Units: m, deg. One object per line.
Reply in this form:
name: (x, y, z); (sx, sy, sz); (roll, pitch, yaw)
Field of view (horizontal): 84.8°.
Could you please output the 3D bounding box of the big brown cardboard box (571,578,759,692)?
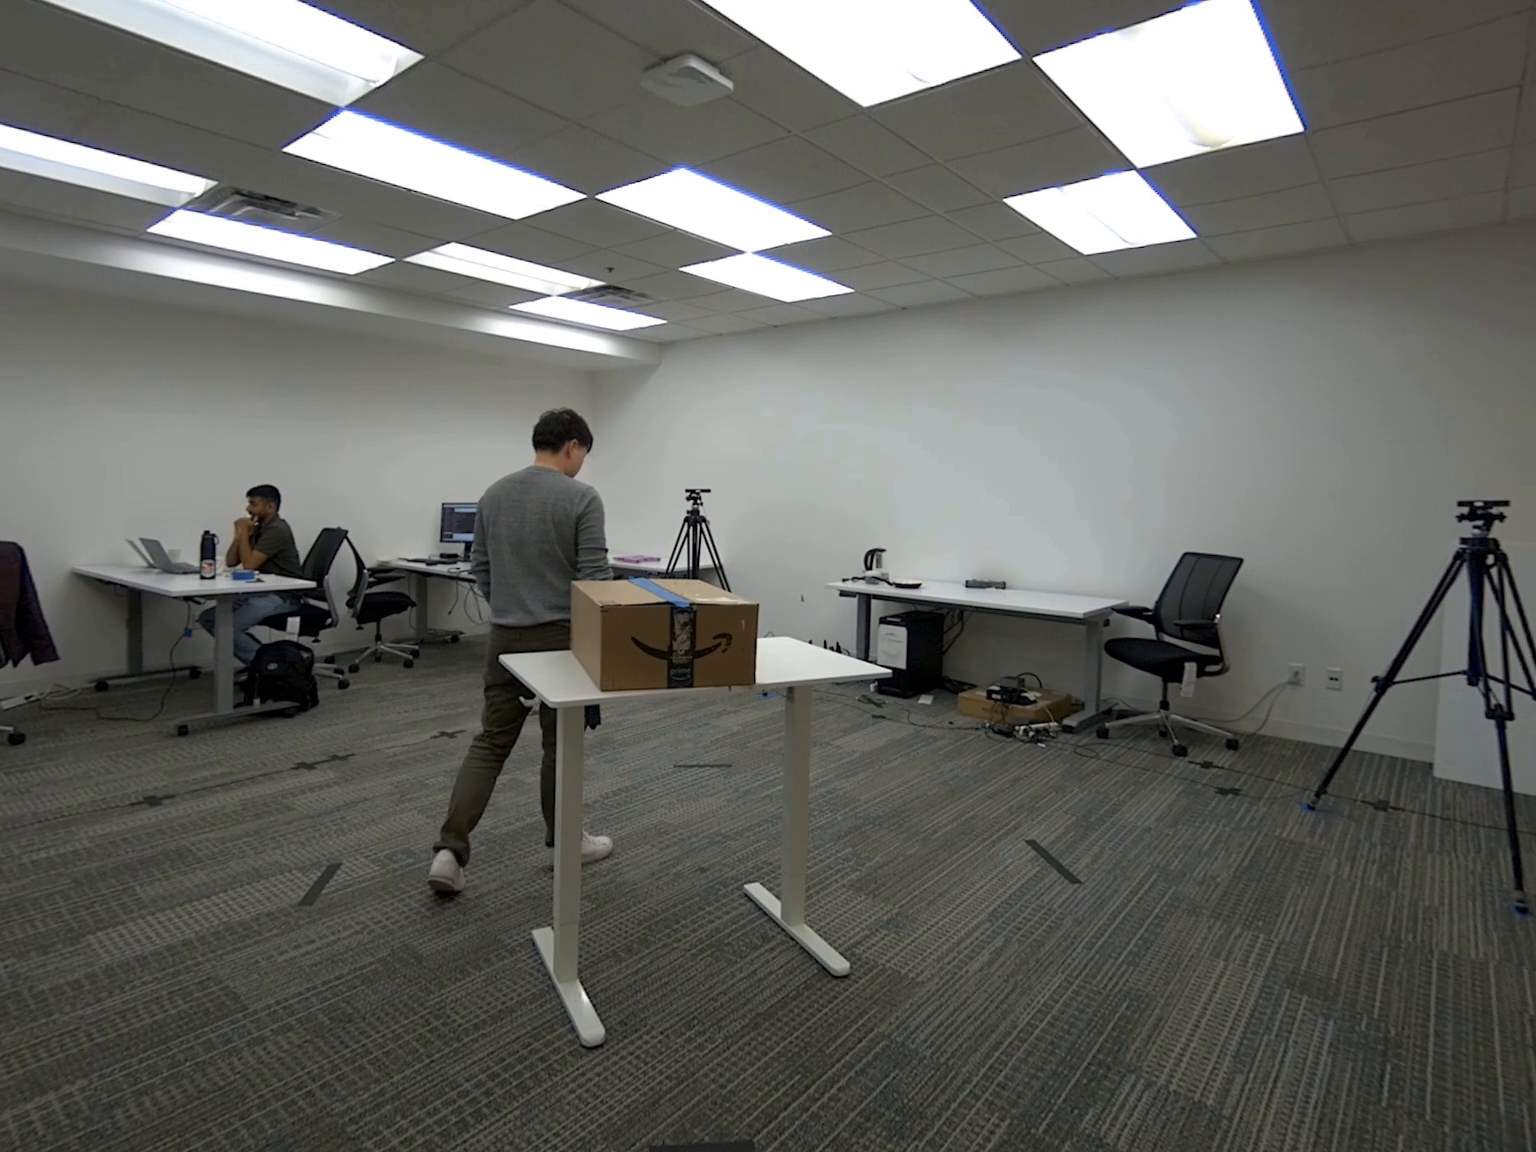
big brown cardboard box: (-0.319, 0.147, 2.431); (0.410, 0.232, 0.602); (0, 5, -19)
